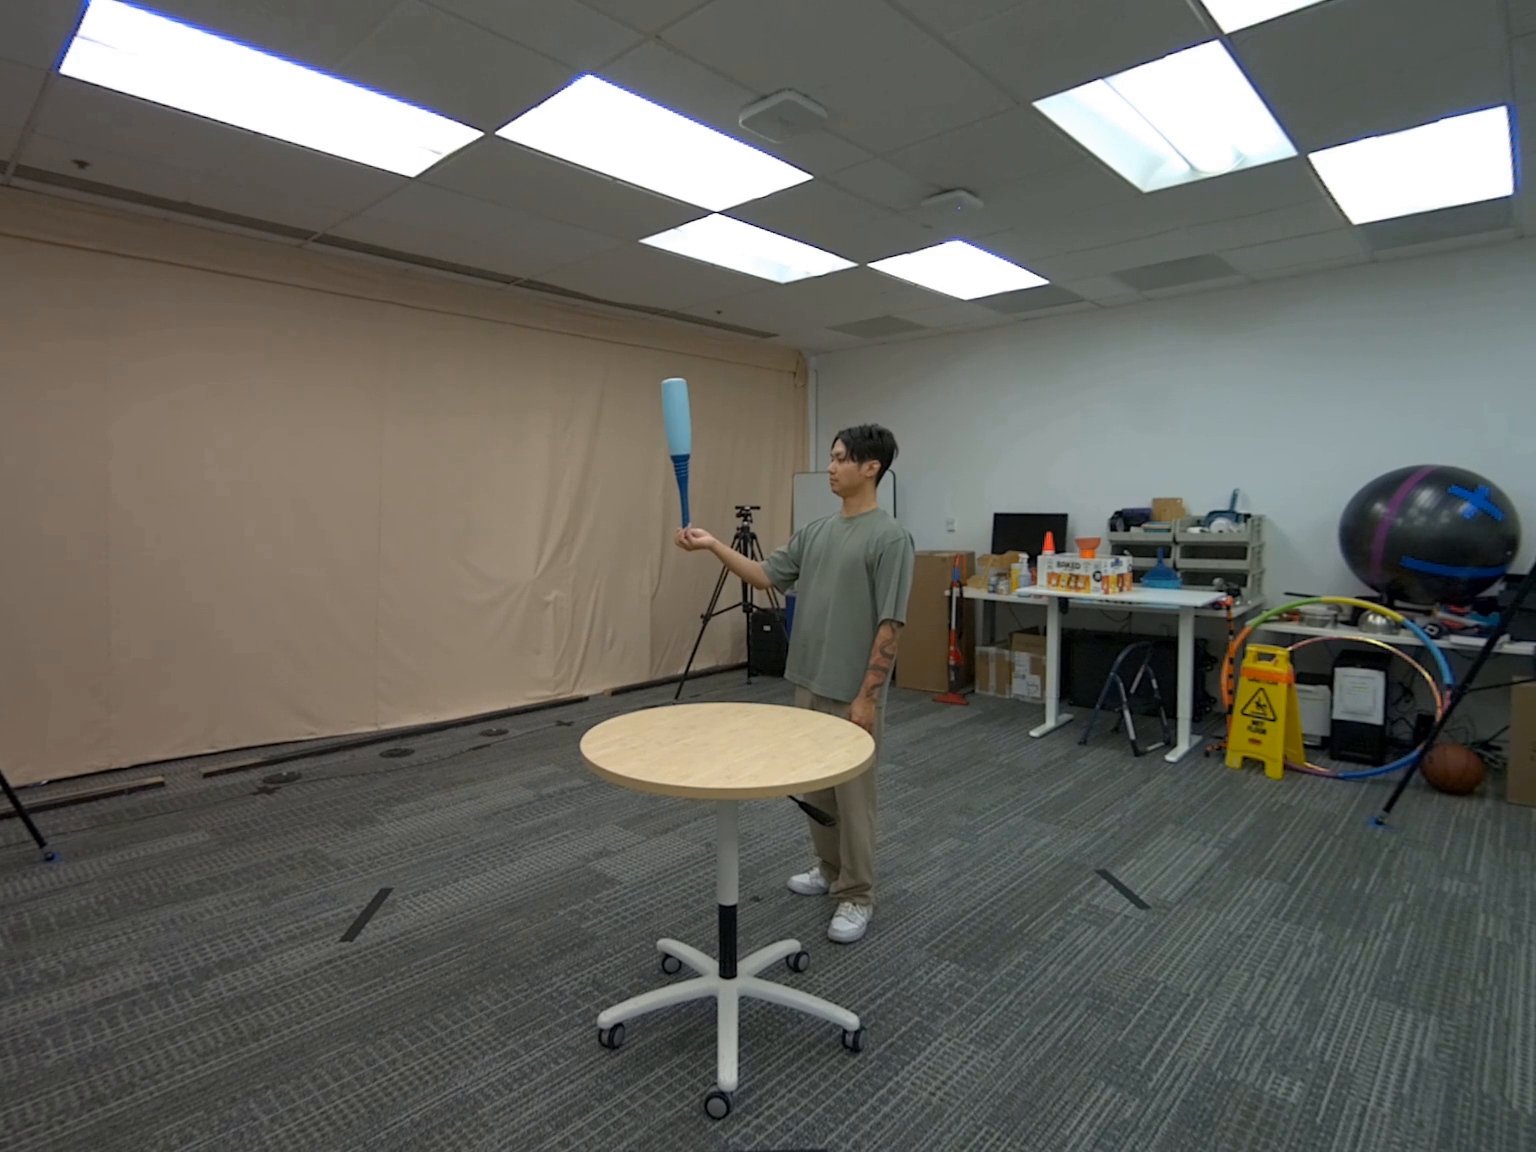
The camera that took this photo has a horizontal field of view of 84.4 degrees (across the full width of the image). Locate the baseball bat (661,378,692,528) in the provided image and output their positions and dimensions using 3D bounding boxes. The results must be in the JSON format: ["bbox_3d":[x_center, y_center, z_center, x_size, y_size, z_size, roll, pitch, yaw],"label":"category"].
[{"bbox_3d":[-0.289,-0.386,2.811,0.089,0.541,0.089,-4,4,-2],"label":"baseball bat"}]
